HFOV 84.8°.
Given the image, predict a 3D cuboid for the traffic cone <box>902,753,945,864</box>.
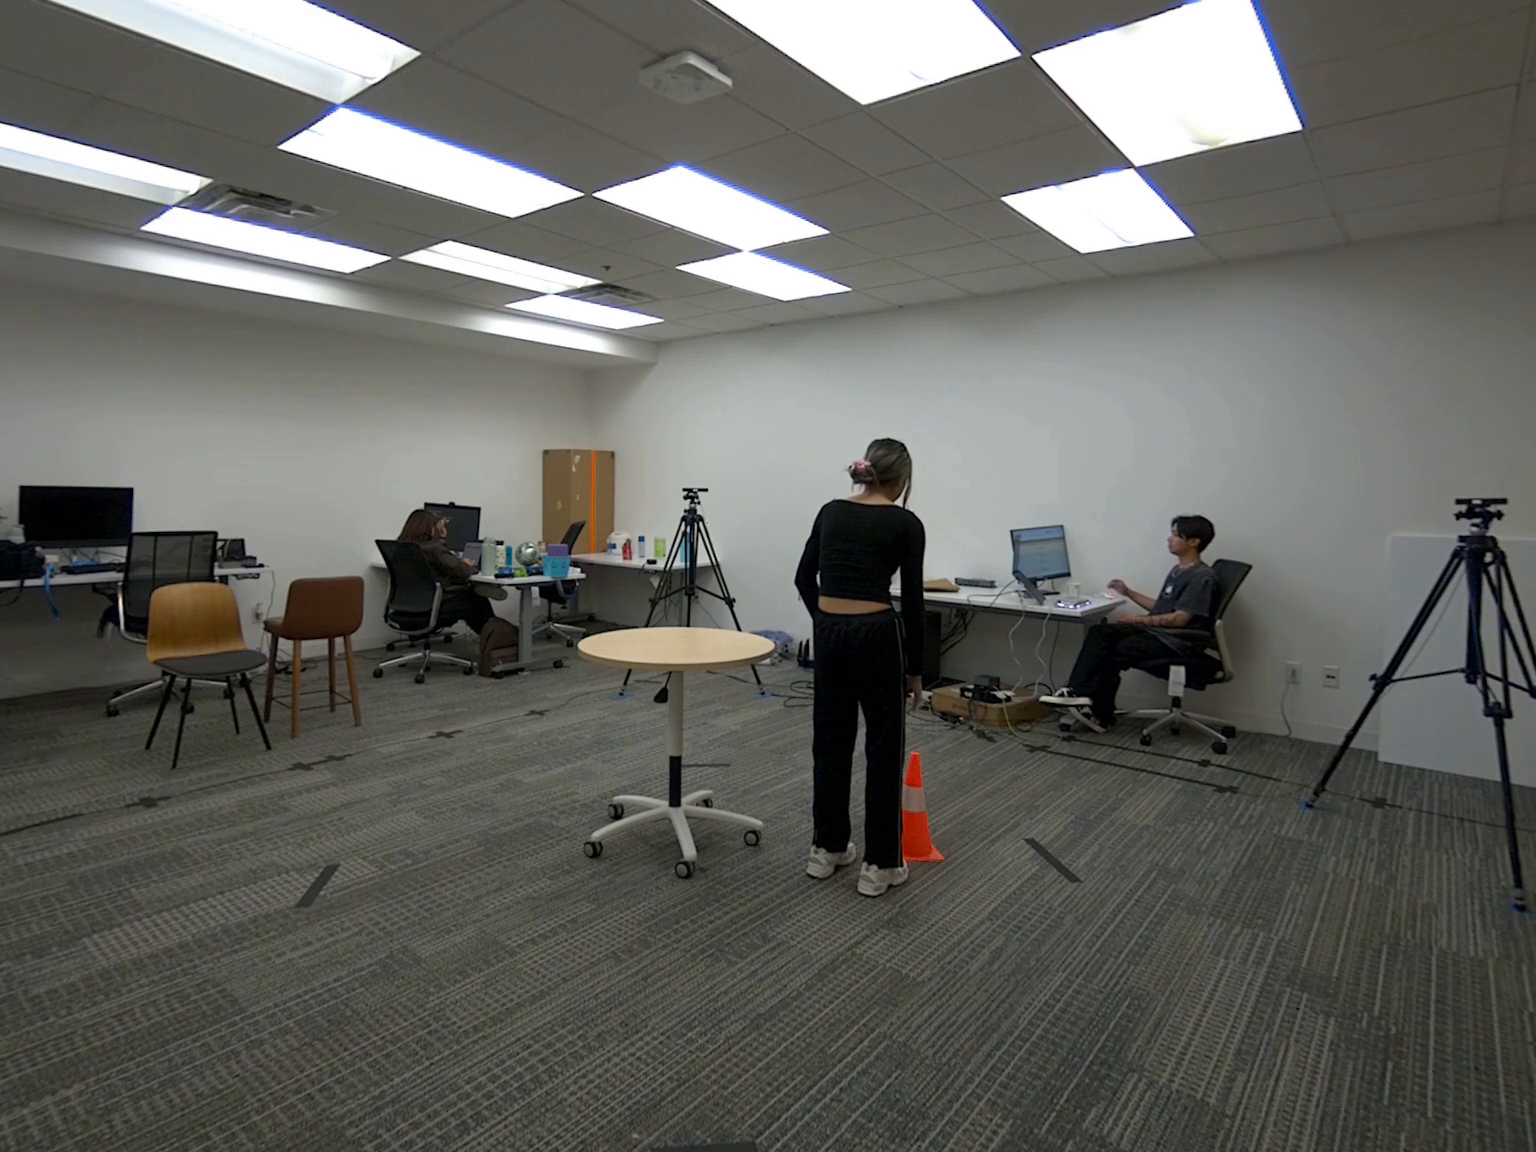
[{"bbox_3d":[0.555,0.881,3.326,0.204,0.383,0.205,0,2,-6],"label":"traffic cone"}]
